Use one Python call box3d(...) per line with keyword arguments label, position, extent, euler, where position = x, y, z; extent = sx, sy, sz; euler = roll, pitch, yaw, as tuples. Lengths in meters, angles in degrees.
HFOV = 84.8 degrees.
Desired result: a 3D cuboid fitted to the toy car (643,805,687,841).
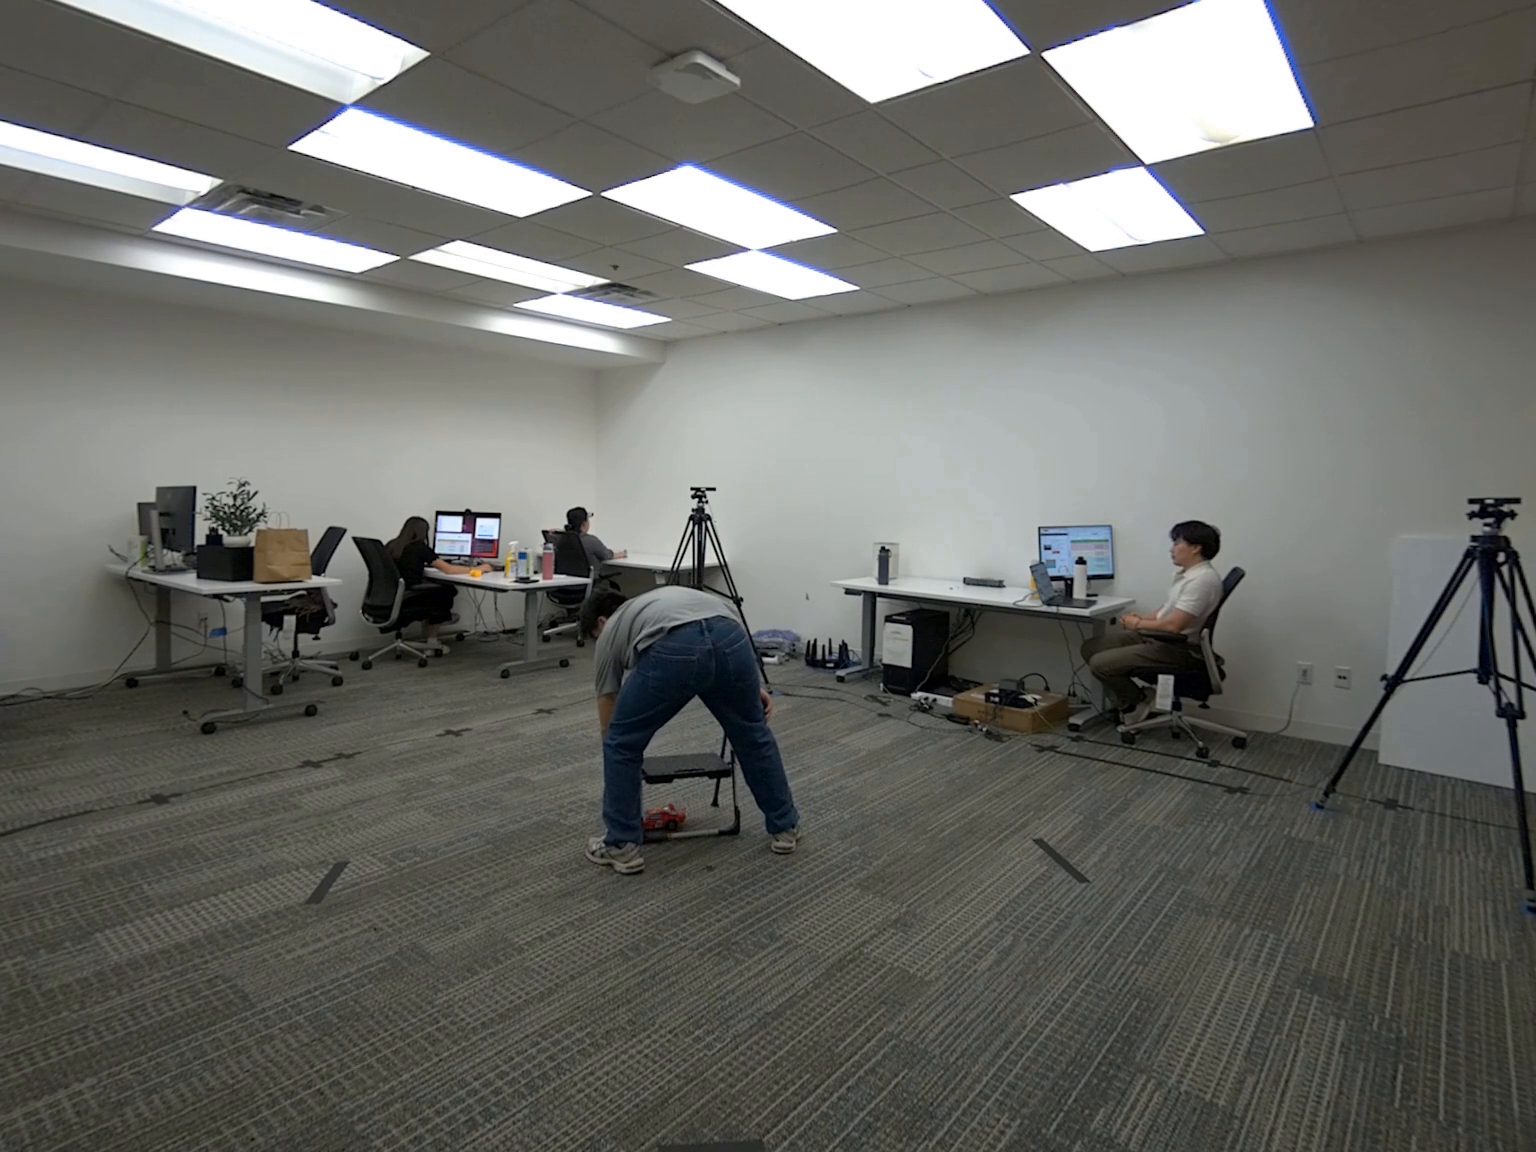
box3d(label="toy car", position=(-0.477, 1.000, 3.484), extent=(0.251, 0.082, 0.133), euler=(-12, 8, -16))
